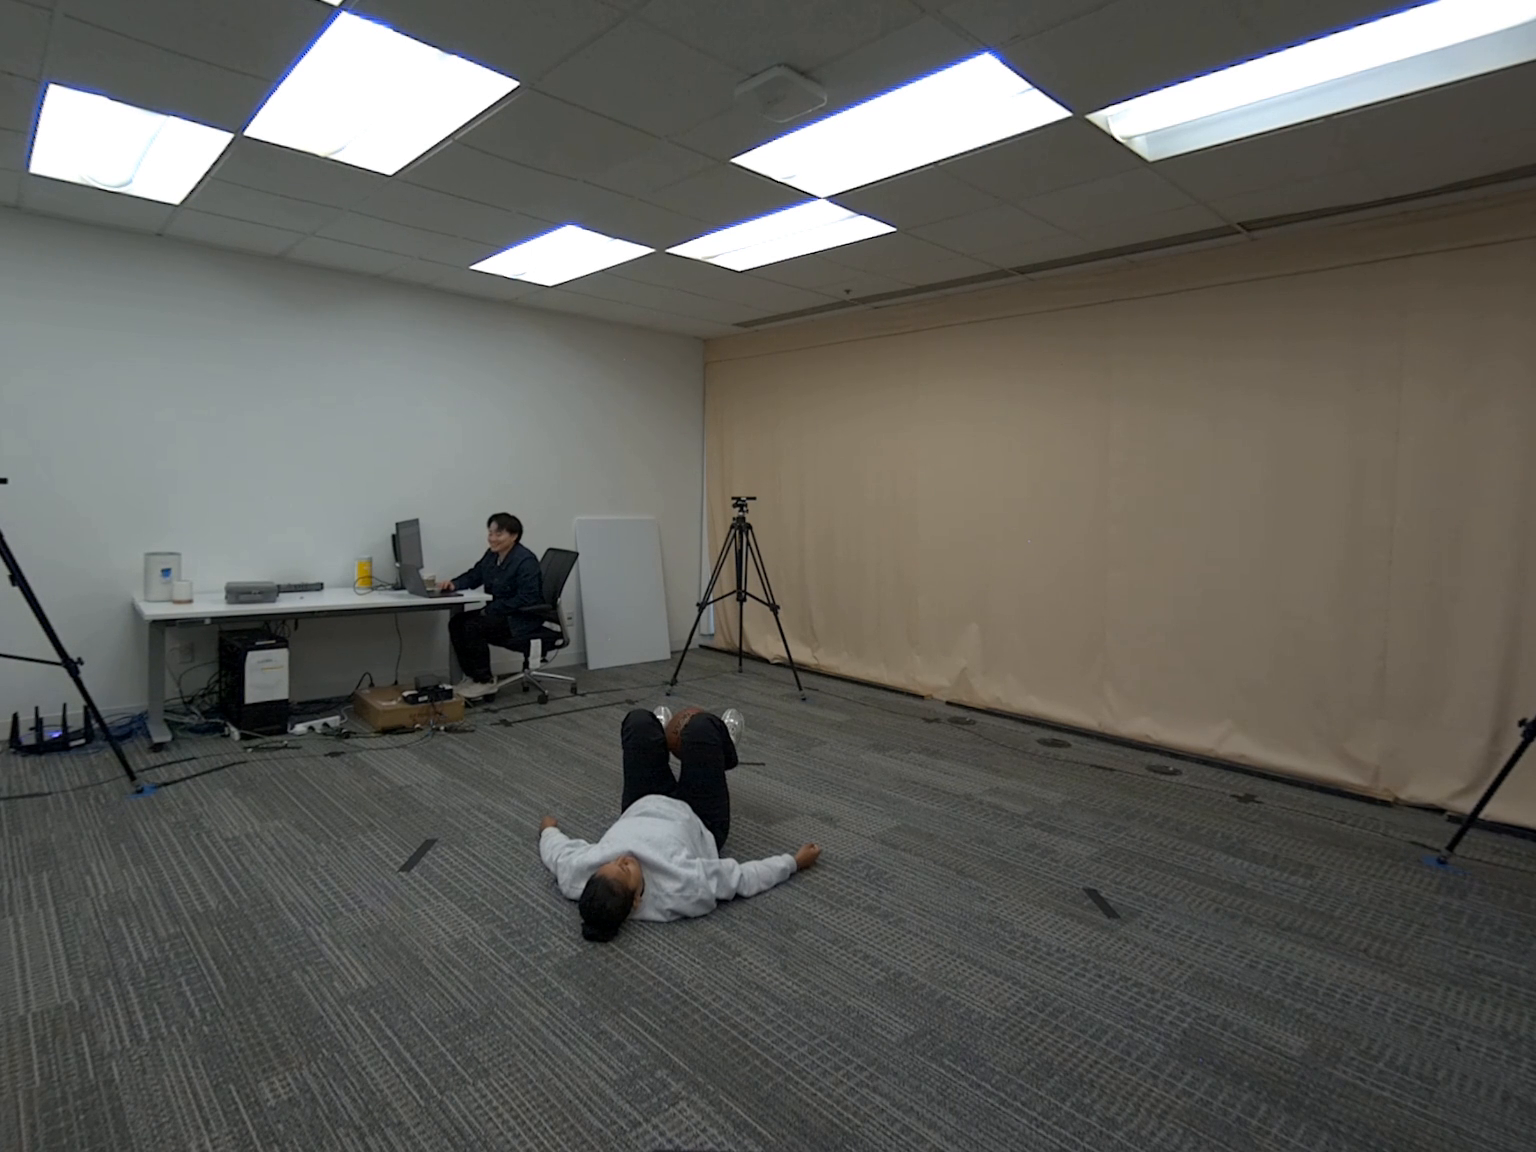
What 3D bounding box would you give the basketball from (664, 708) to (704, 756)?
[{"bbox_3d":[-0.332,0.687,3.648,0.235,0.235,0.237,4,7,-2],"label":"basketball"}]
